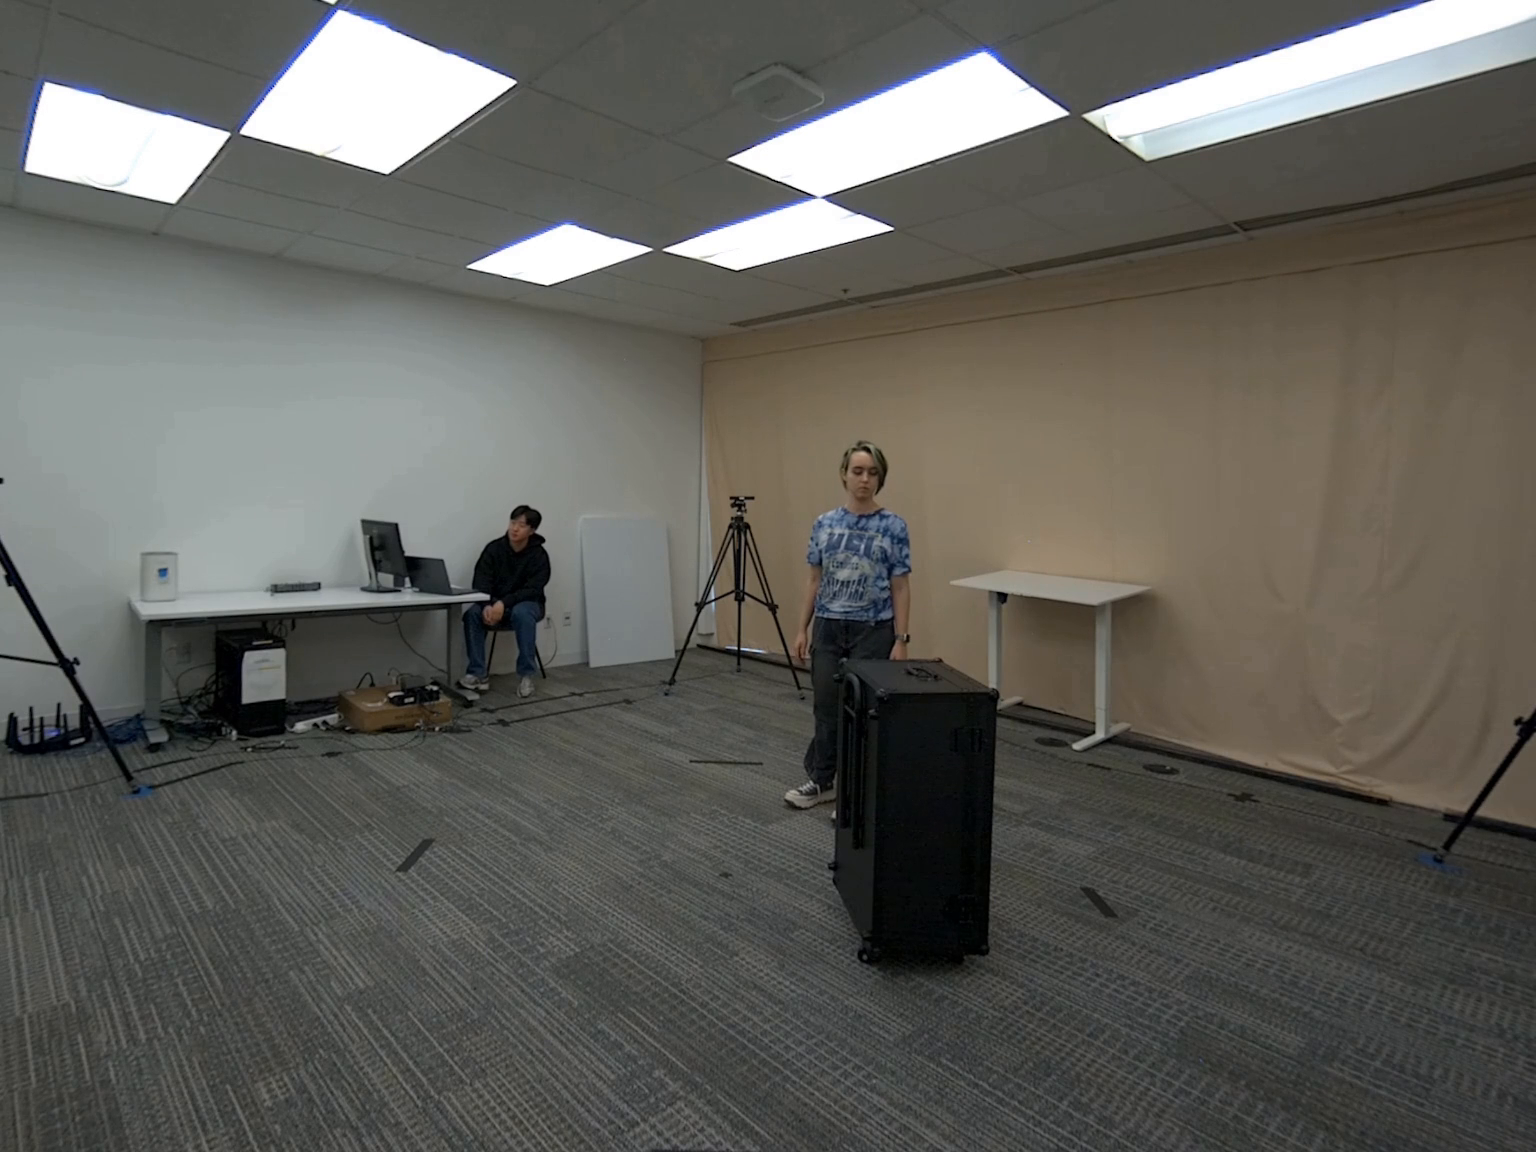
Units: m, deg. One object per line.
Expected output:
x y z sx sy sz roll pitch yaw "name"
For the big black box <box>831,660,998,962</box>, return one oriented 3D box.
0.432 0.738 2.658 0.394 0.859 0.525 0 4 -7 "big black box"
